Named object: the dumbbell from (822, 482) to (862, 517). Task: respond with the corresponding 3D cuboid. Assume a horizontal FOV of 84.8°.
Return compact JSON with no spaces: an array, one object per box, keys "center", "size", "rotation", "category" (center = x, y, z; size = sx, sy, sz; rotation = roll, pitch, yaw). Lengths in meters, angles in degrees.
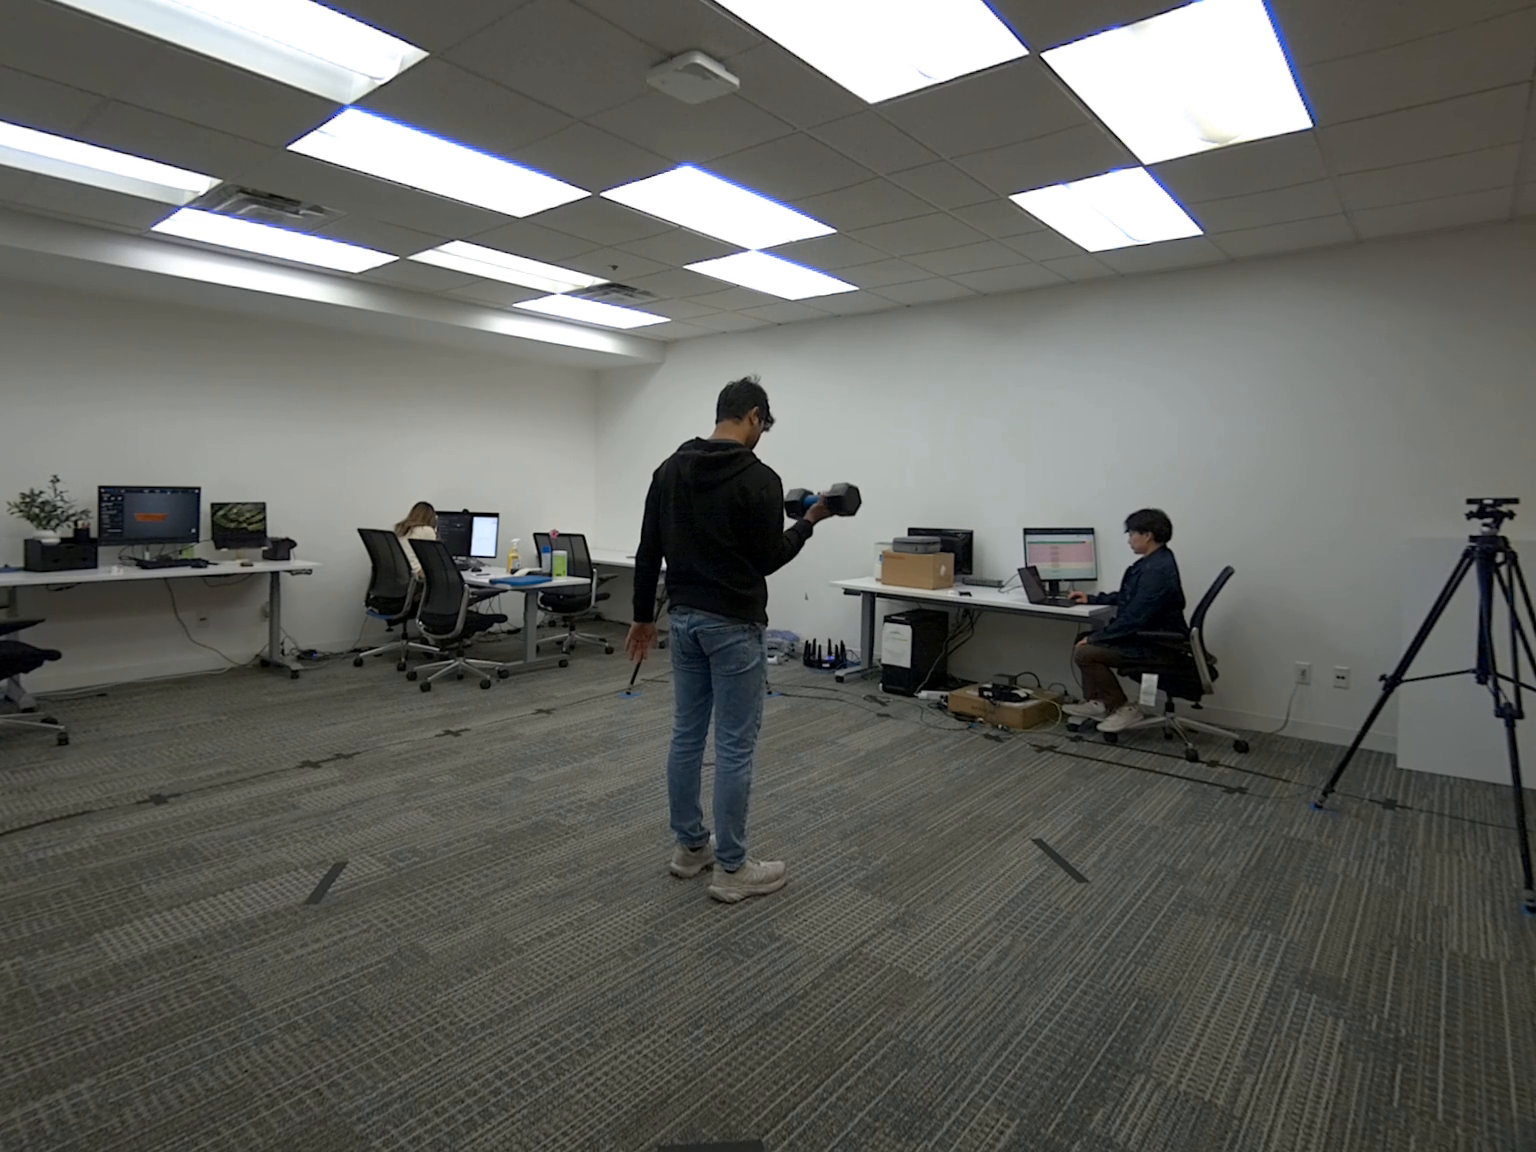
[{"center":[0.178,-0.252,3.044],"size":[0.302,0.124,0.105],"rotation":[-3,-42,47],"category":"dumbbell"}]
